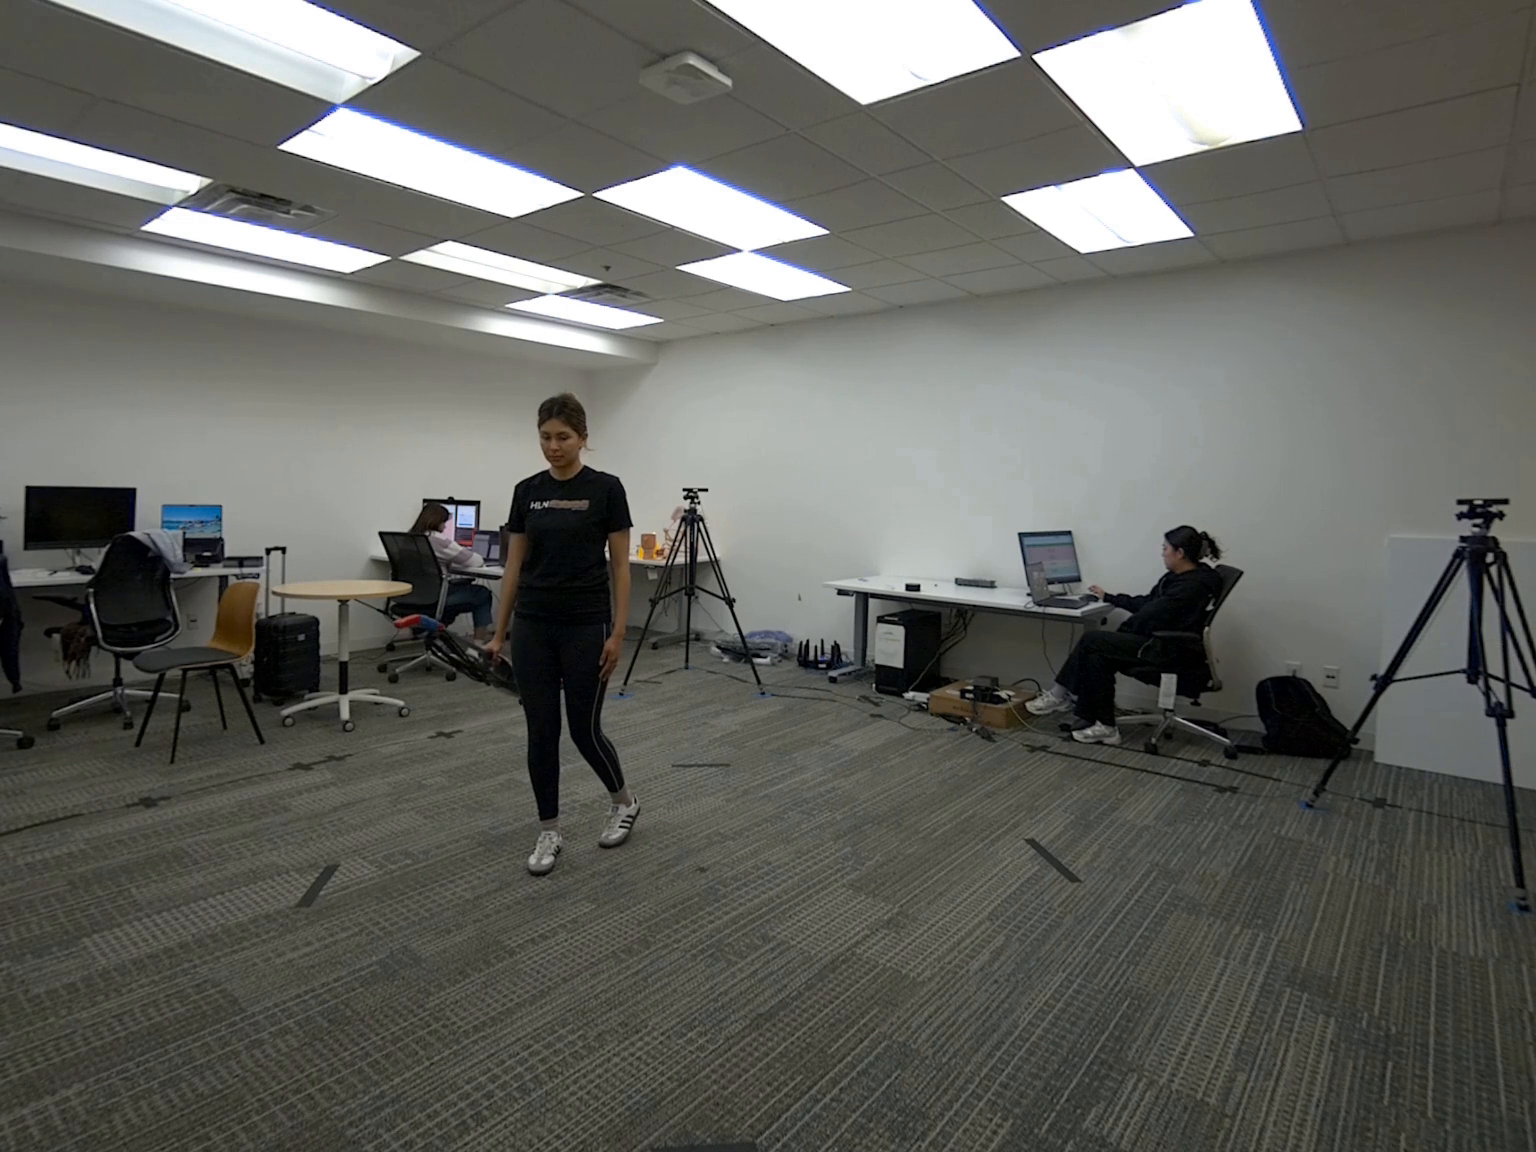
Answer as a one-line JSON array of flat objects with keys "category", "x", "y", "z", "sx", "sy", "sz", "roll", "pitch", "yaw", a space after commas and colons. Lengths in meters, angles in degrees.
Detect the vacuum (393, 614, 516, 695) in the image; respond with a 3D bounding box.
[{"category": "vacuum", "x": -1.071, "y": 0.309, "z": 3.082, "sx": 0.255, "sy": 0.147, "sz": 1.018, "roll": -4, "pitch": -21, "yaw": 9}]
